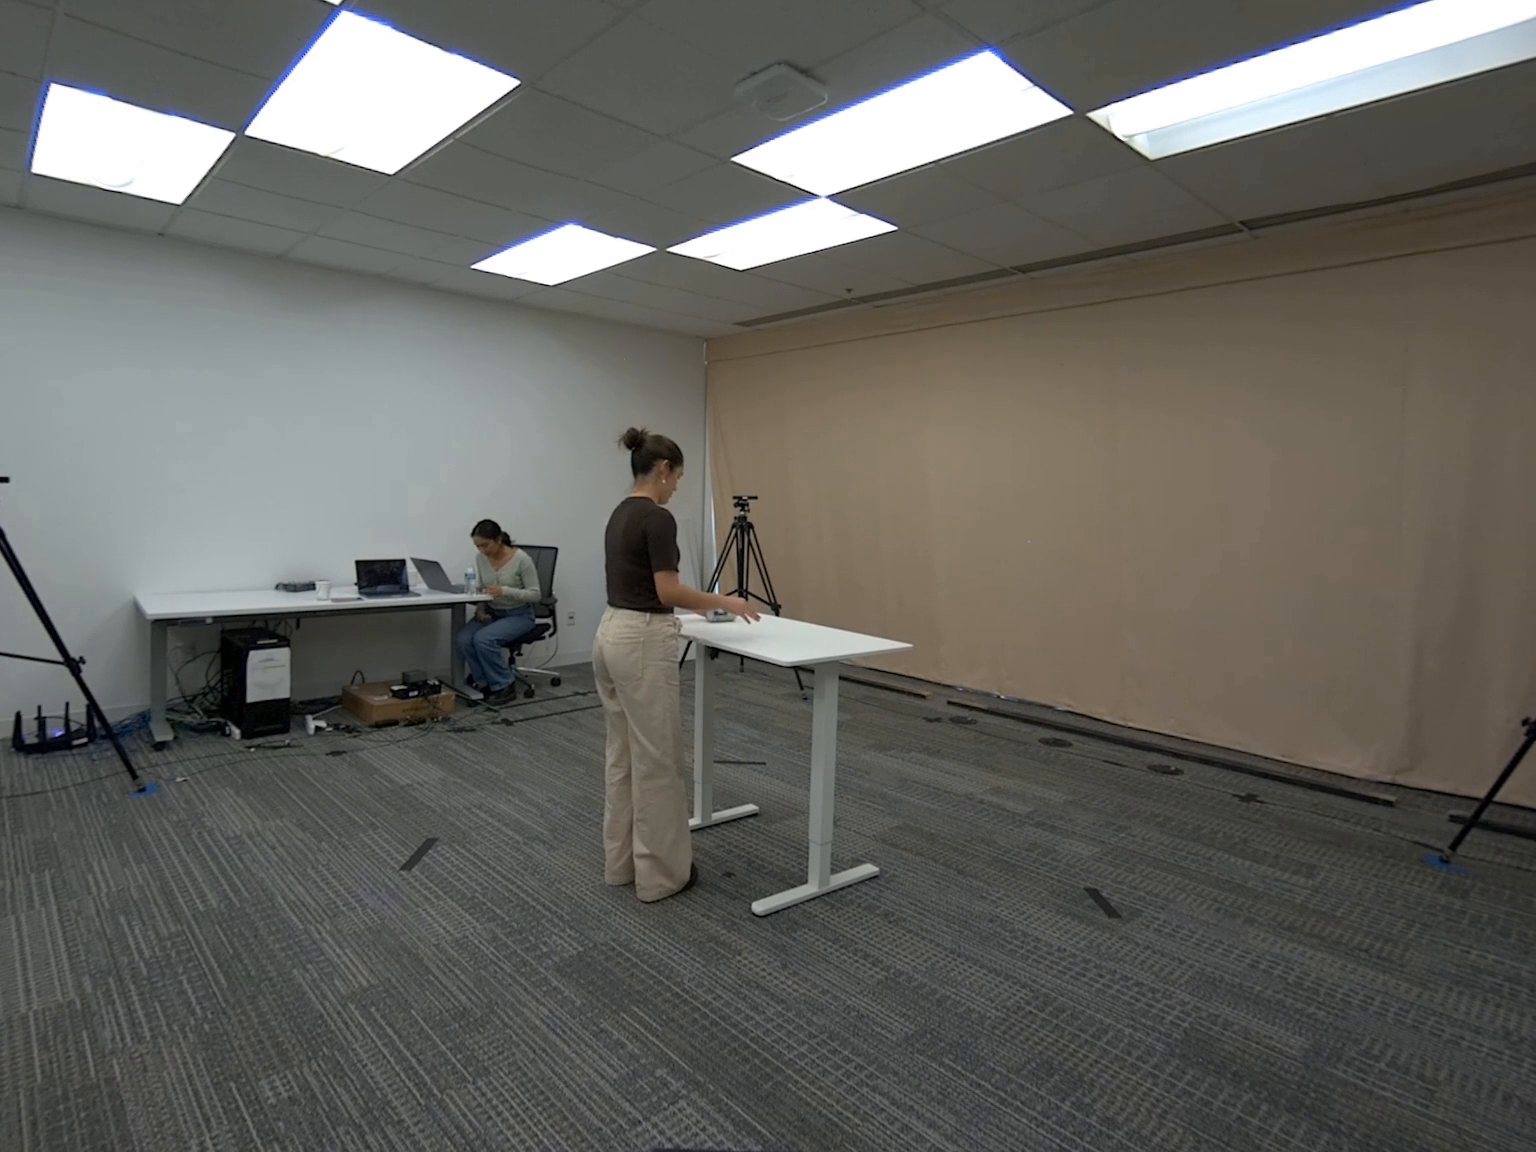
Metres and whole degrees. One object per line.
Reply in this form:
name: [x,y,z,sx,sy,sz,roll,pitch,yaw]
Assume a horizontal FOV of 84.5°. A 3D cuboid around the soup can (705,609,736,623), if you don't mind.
soup can: [-0.196,0.156,3.441,0.119,0.067,0.069,2,3,-31]
